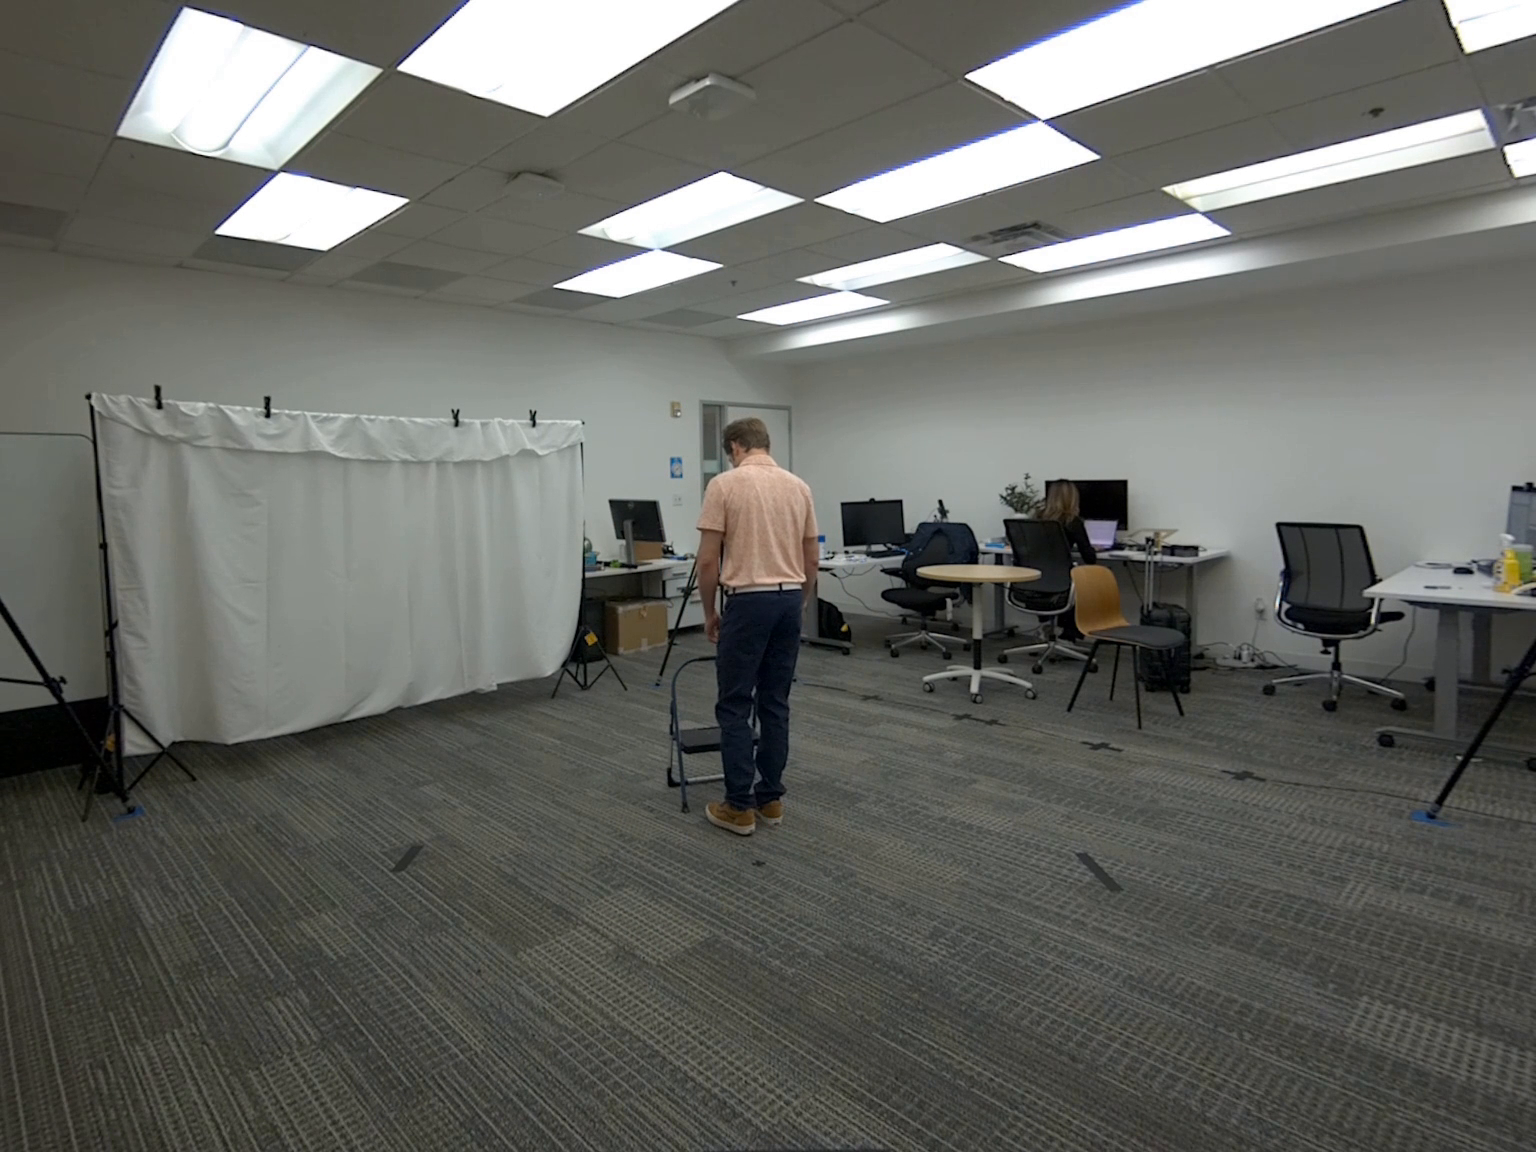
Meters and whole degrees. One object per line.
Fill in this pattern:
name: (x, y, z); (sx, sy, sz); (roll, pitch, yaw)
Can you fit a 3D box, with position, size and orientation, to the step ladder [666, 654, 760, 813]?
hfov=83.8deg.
step ladder: (-0.219, 0.671, 3.808); (0.424, 0.604, 0.356); (-3, 5, -18)
